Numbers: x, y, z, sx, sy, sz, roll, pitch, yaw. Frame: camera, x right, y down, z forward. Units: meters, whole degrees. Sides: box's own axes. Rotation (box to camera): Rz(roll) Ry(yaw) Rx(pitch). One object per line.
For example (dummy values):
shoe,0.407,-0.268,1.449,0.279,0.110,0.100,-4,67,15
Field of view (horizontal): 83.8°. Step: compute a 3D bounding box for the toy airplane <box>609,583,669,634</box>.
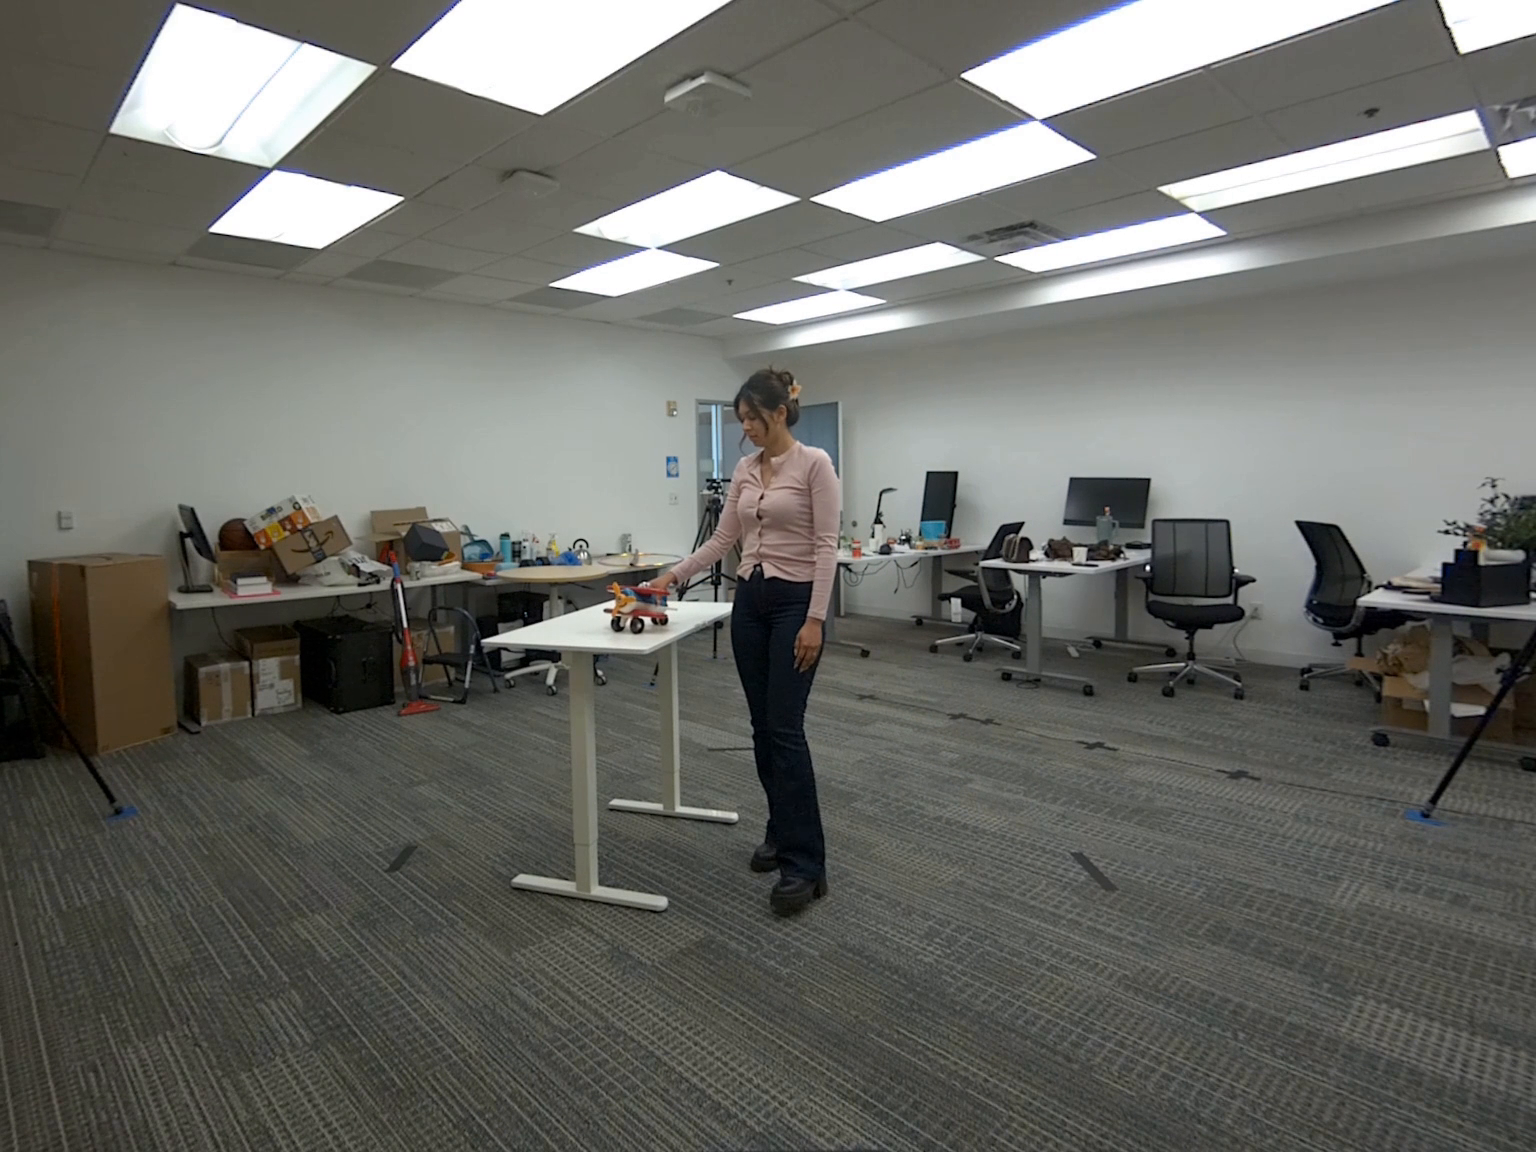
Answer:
toy airplane,-0.449,0.106,2.983,0.252,0.156,0.259,0,6,4
